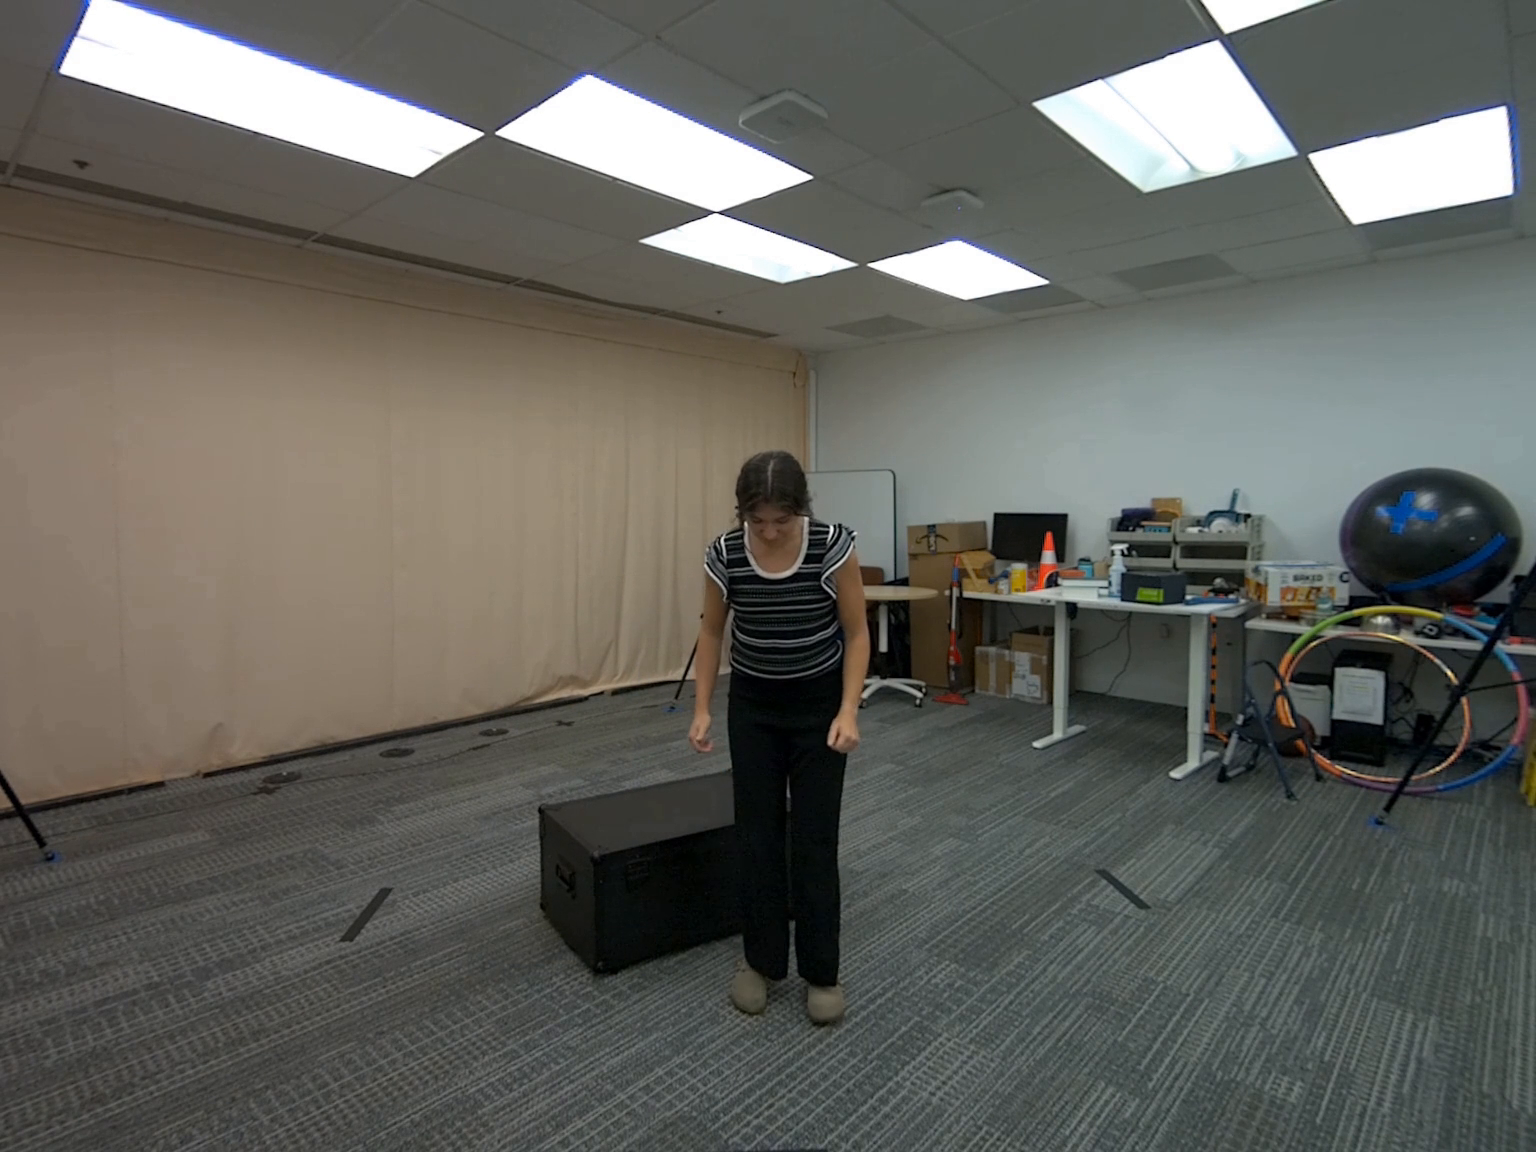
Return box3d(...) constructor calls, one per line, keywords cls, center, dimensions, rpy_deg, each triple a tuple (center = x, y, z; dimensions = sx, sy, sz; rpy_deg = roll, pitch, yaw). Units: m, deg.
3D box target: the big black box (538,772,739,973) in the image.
box3d(cls="big black box", center=(-0.292, 0.964, 2.871), dimensions=(0.838, 0.395, 0.537), rpy_deg=(-4, 6, -32))
